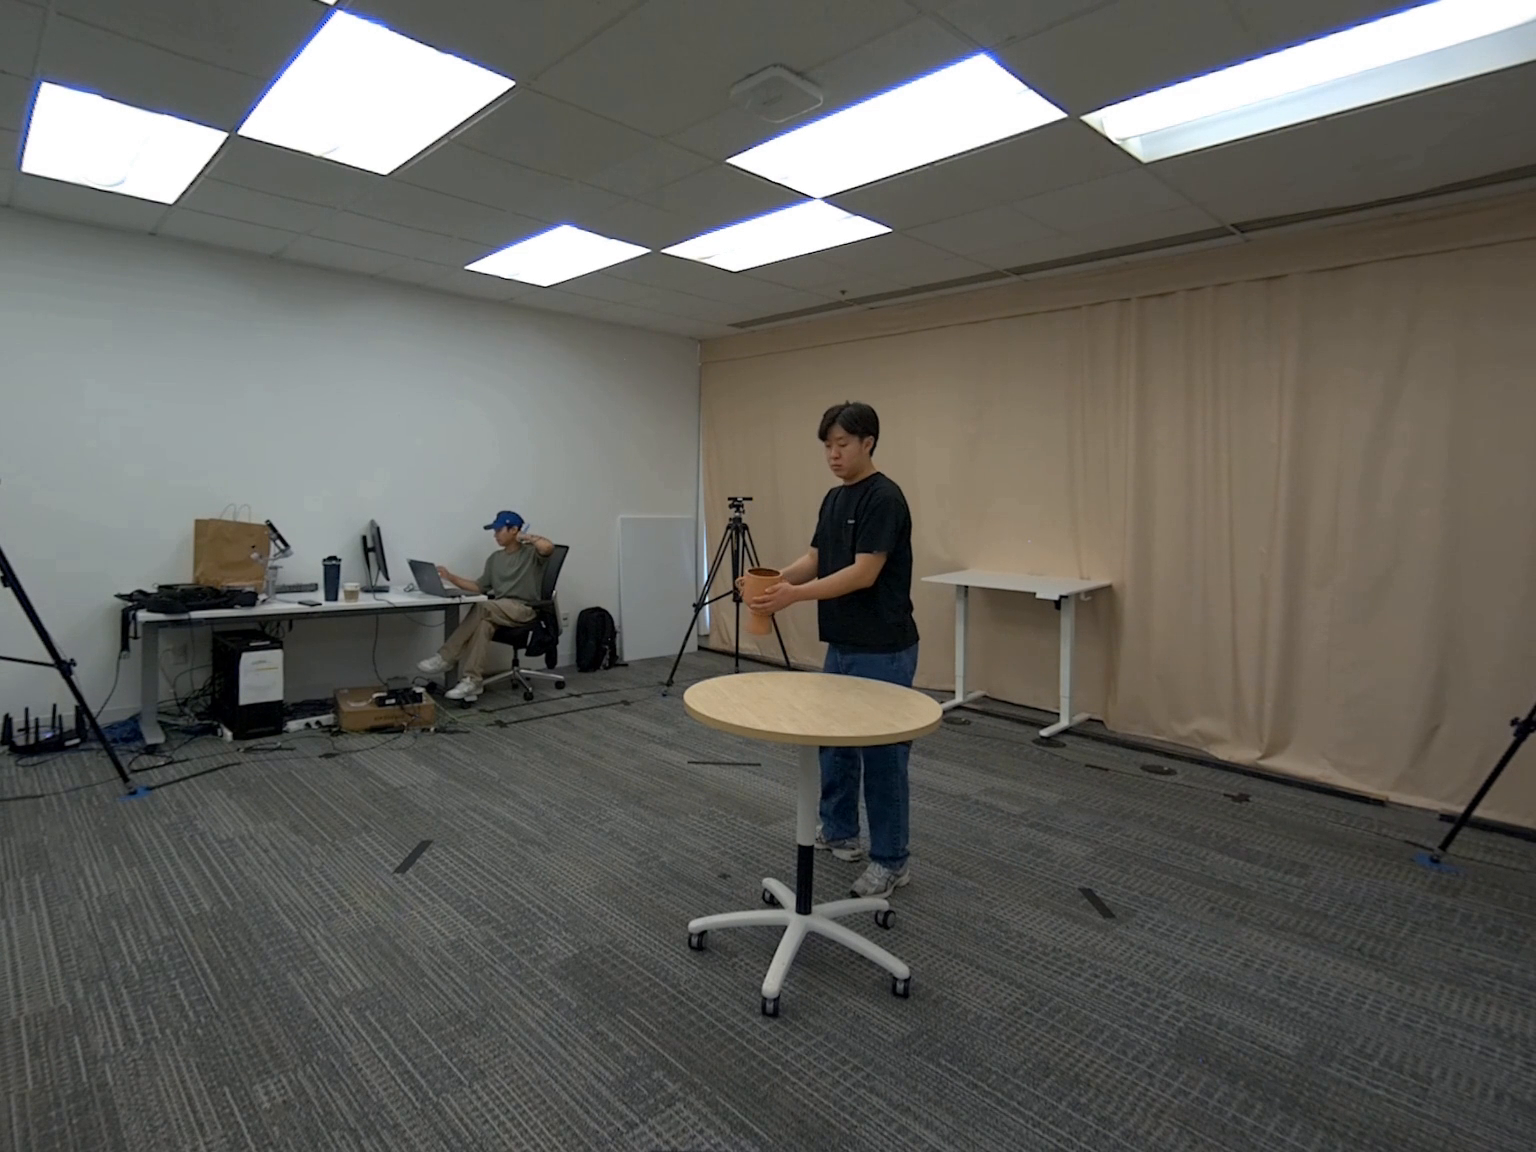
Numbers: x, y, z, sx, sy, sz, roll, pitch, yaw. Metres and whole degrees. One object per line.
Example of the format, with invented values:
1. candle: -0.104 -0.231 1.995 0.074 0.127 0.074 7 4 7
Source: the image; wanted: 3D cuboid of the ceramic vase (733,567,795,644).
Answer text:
1. ceramic vase: -0.011 0.100 3.017 0.163 0.218 0.132 13 14 32
